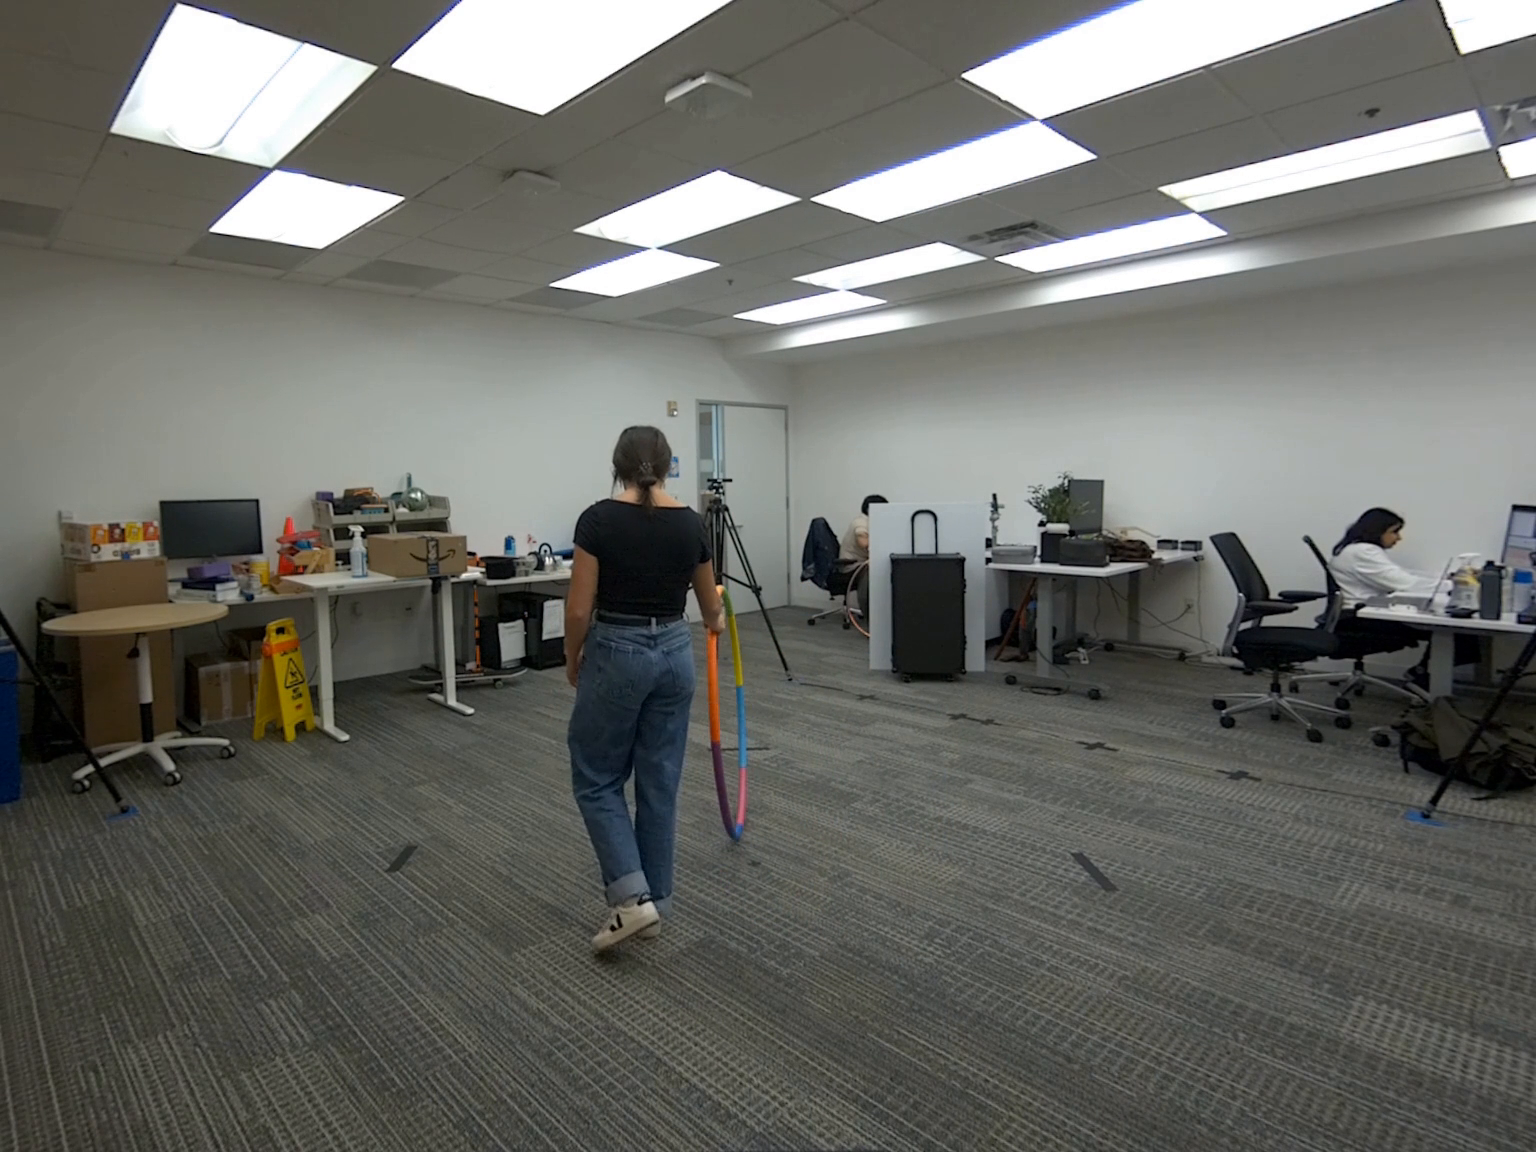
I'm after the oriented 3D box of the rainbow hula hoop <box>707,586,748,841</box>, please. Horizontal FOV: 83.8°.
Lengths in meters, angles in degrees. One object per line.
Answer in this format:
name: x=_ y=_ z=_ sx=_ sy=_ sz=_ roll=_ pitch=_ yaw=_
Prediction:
rainbow hula hoop: x=-0.154 y=0.529 z=3.391 sx=0.036 sy=0.975 sz=0.978 roll=-4 pitch=5 yaw=3
